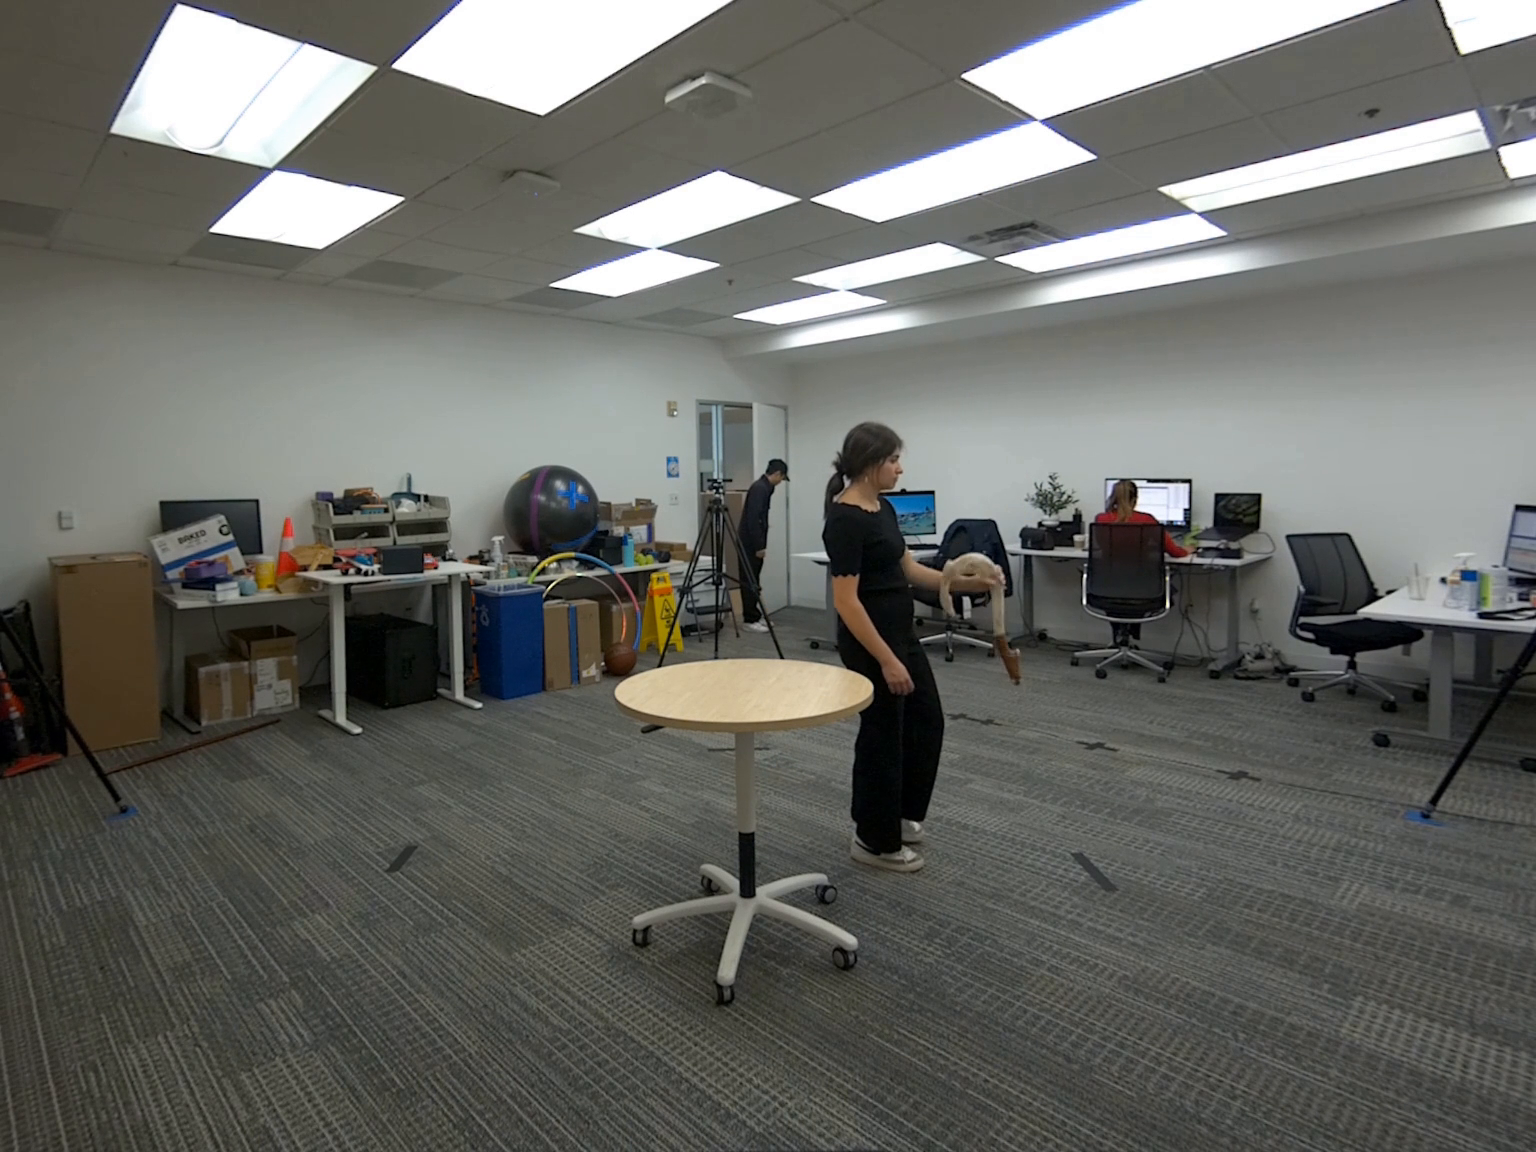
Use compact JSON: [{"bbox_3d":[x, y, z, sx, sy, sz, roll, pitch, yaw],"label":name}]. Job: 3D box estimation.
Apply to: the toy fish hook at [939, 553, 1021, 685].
[{"bbox_3d":[0.759,0.156,3.051,0.226,0.503,0.048,-18,5,11],"label":"toy fish hook"}]
